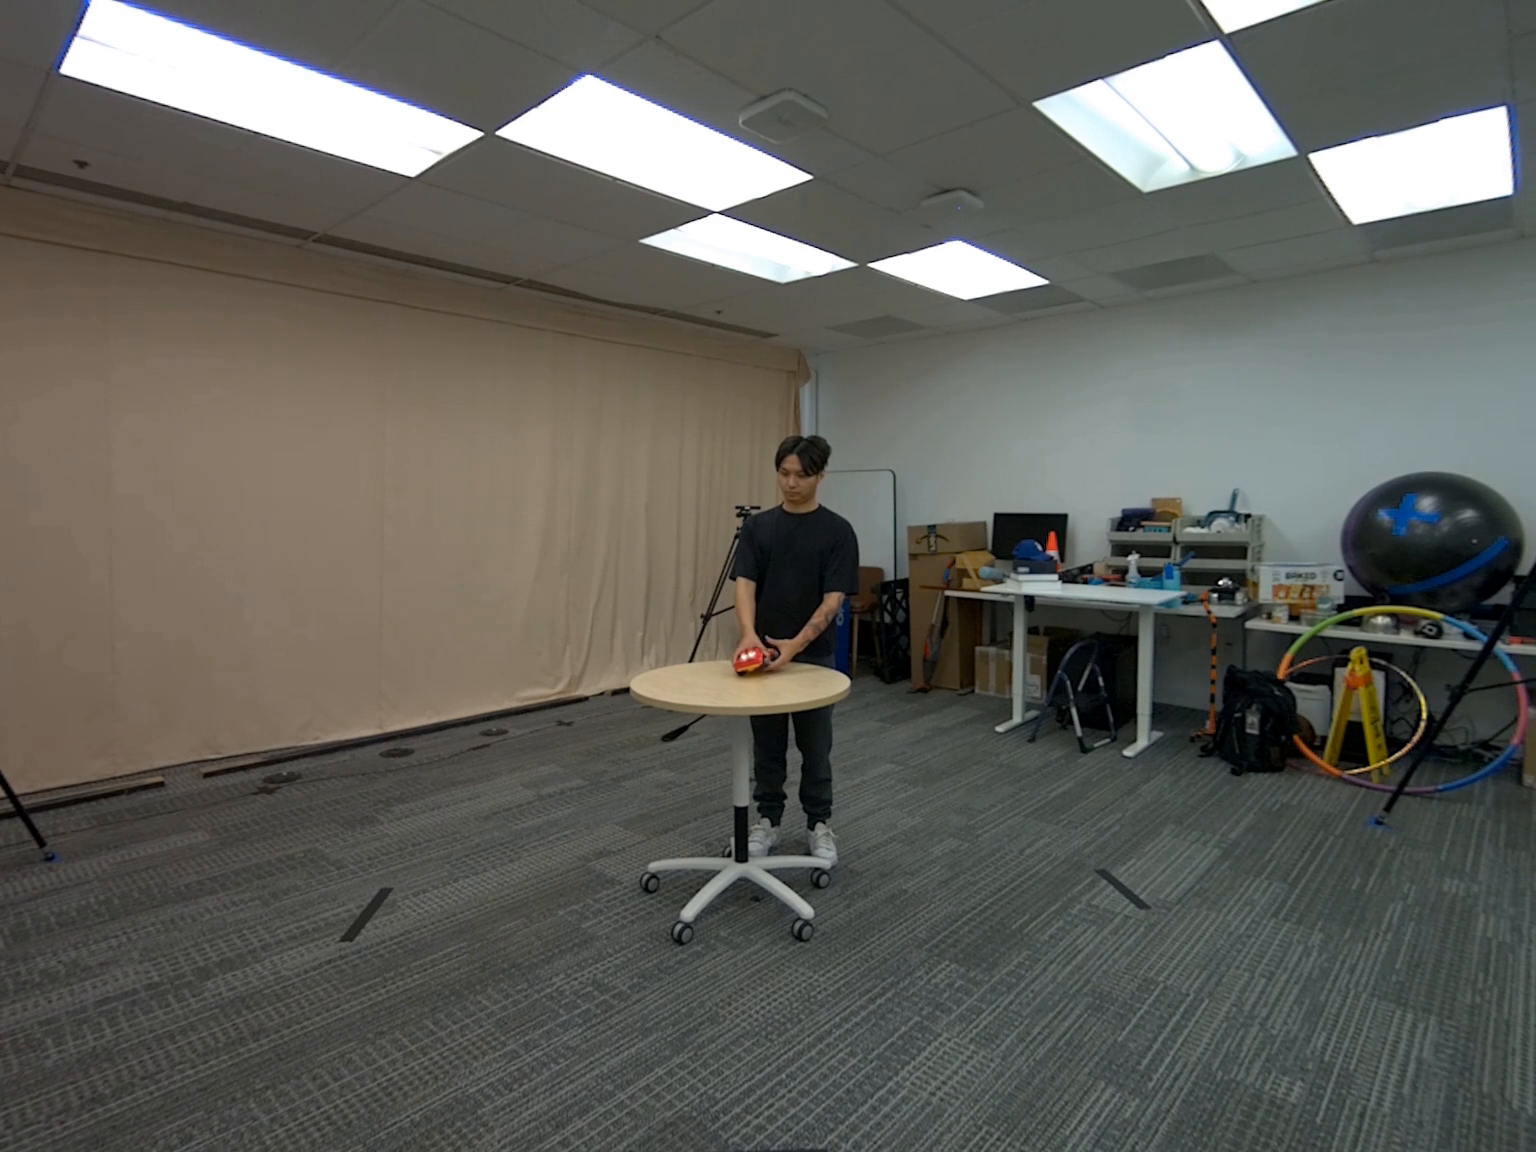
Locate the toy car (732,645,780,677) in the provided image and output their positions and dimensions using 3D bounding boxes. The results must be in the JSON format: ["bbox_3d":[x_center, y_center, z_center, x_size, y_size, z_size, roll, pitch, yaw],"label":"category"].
[{"bbox_3d":[-0.054,0.305,3.052,0.132,0.084,0.248,-17,-11,16],"label":"toy car"}]
